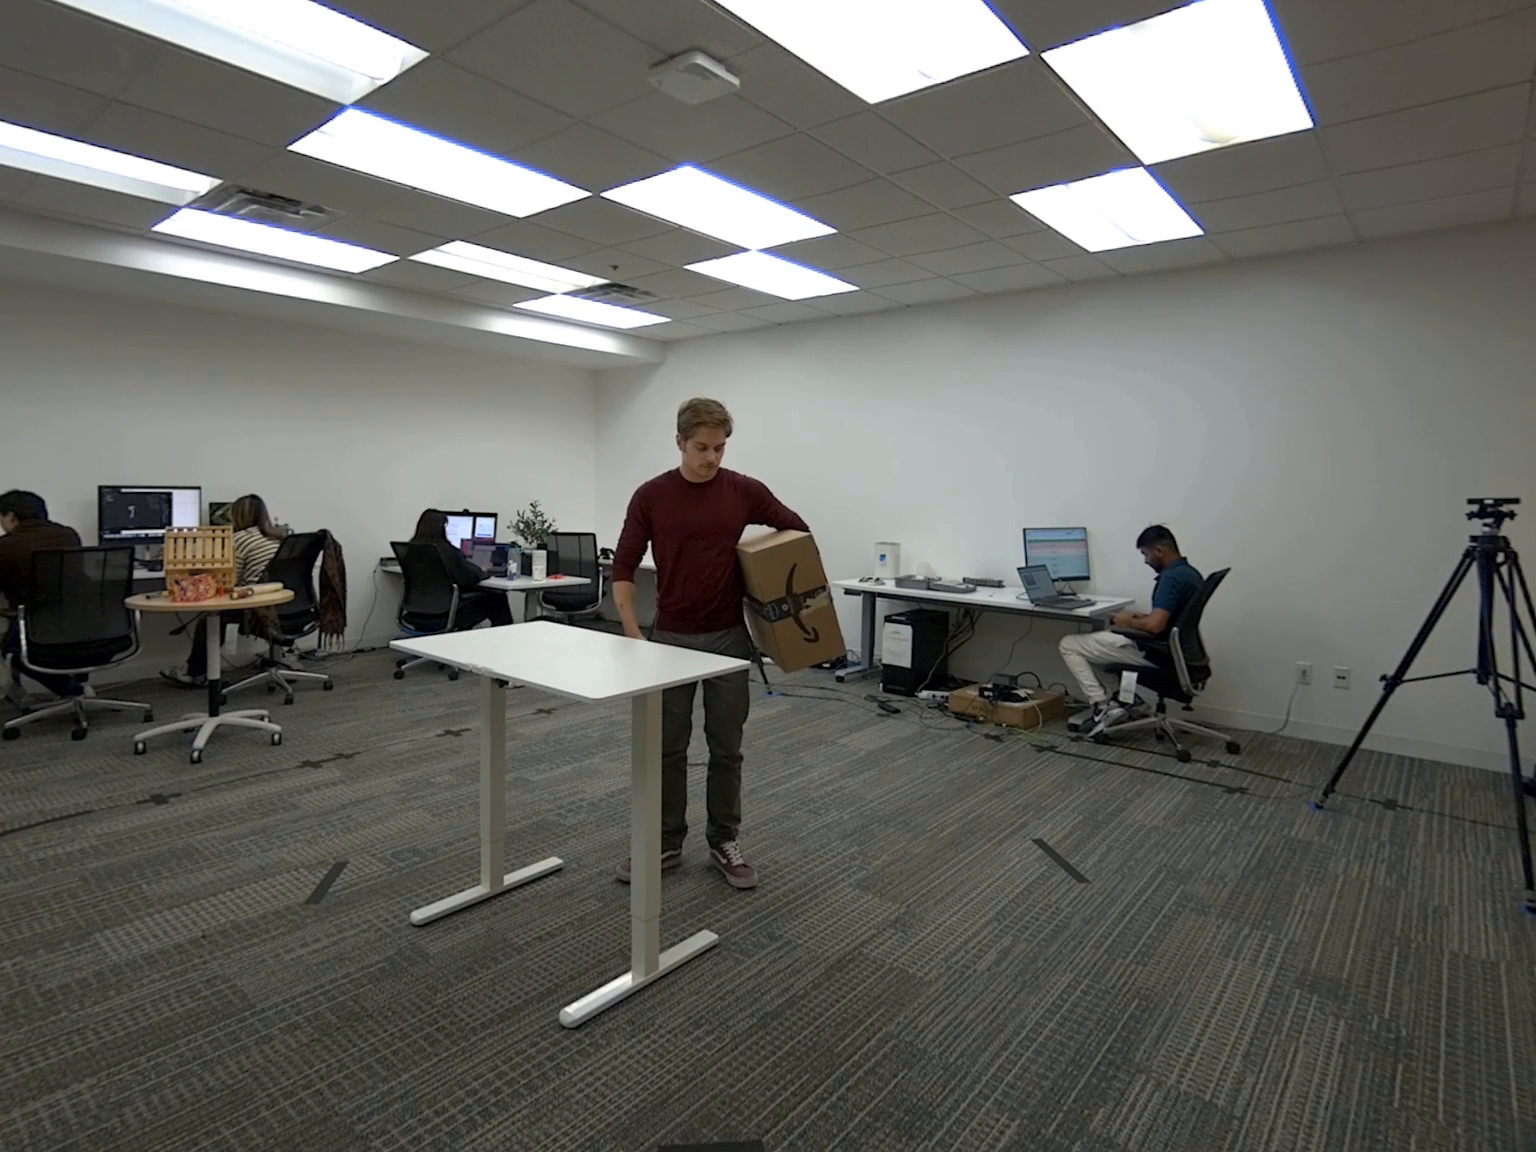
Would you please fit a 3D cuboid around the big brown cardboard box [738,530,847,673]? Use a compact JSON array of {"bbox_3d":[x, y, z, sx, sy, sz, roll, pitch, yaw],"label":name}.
[{"bbox_3d":[0.034,0.064,3.033,0.232,0.415,0.596,-17,7,-6],"label":"big brown cardboard box"}]
